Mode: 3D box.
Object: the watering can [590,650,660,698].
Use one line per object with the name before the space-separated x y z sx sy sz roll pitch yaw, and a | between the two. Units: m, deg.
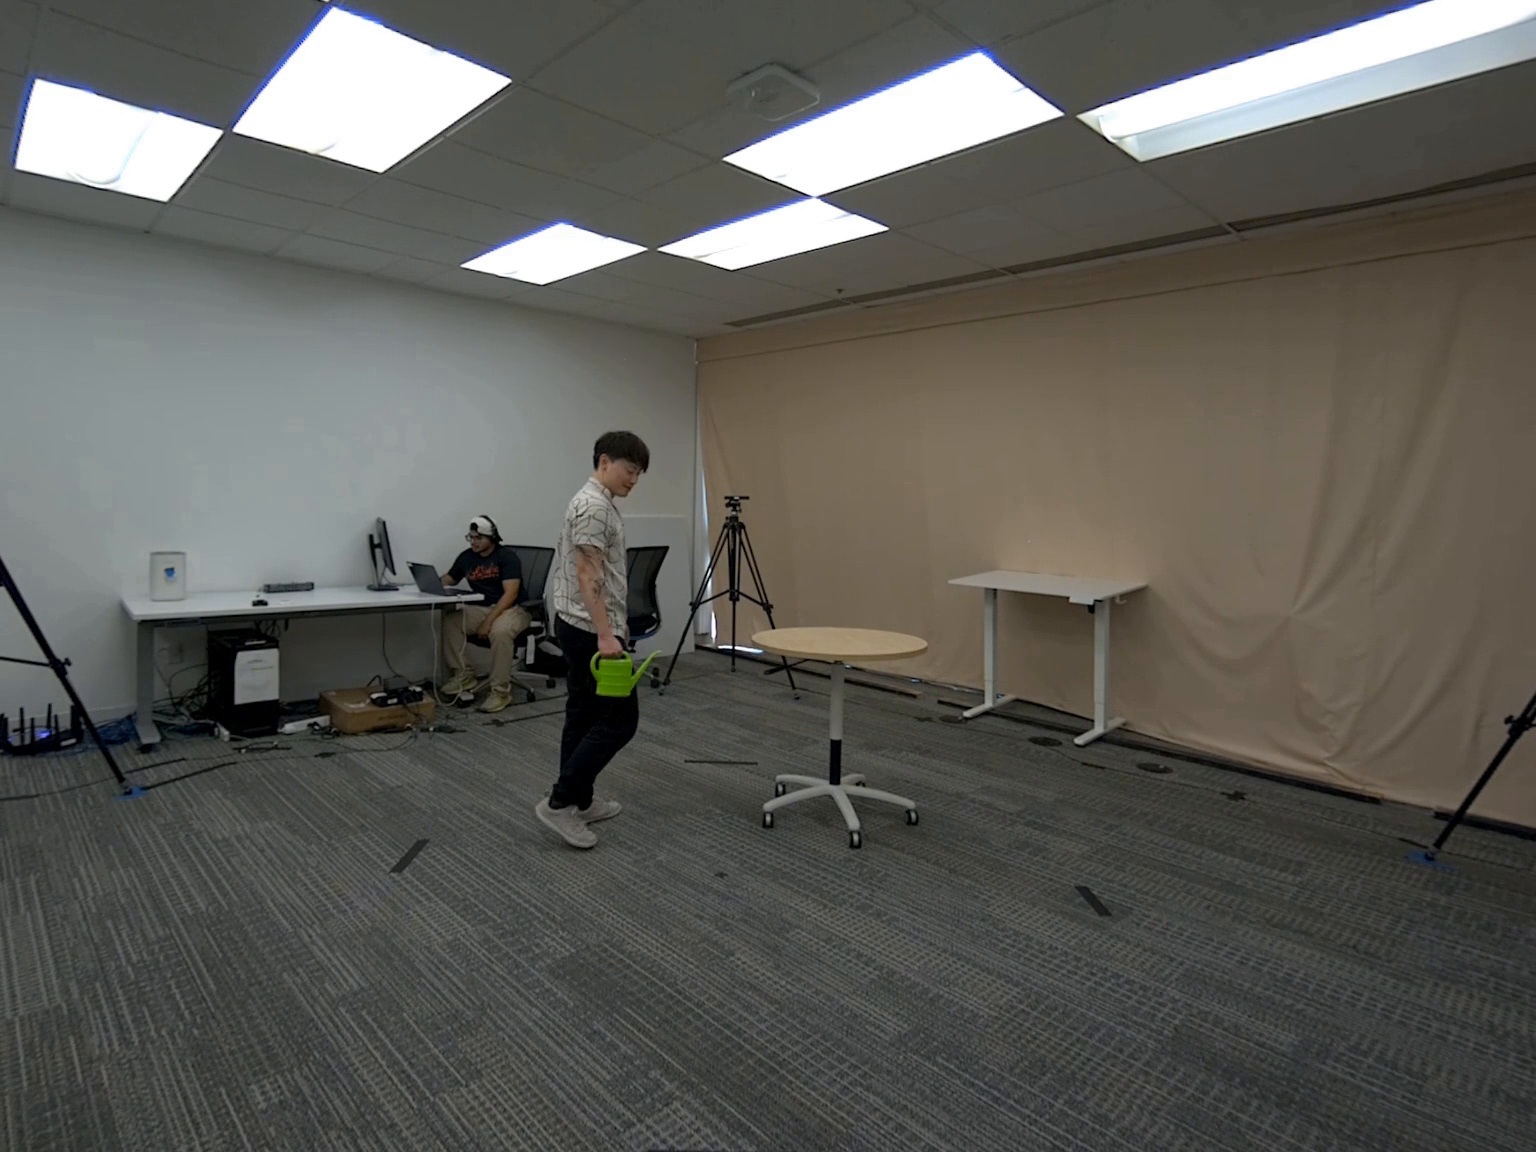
watering can | -0.560 0.374 3.207 0.276 0.177 0.099 4 -1 -10
